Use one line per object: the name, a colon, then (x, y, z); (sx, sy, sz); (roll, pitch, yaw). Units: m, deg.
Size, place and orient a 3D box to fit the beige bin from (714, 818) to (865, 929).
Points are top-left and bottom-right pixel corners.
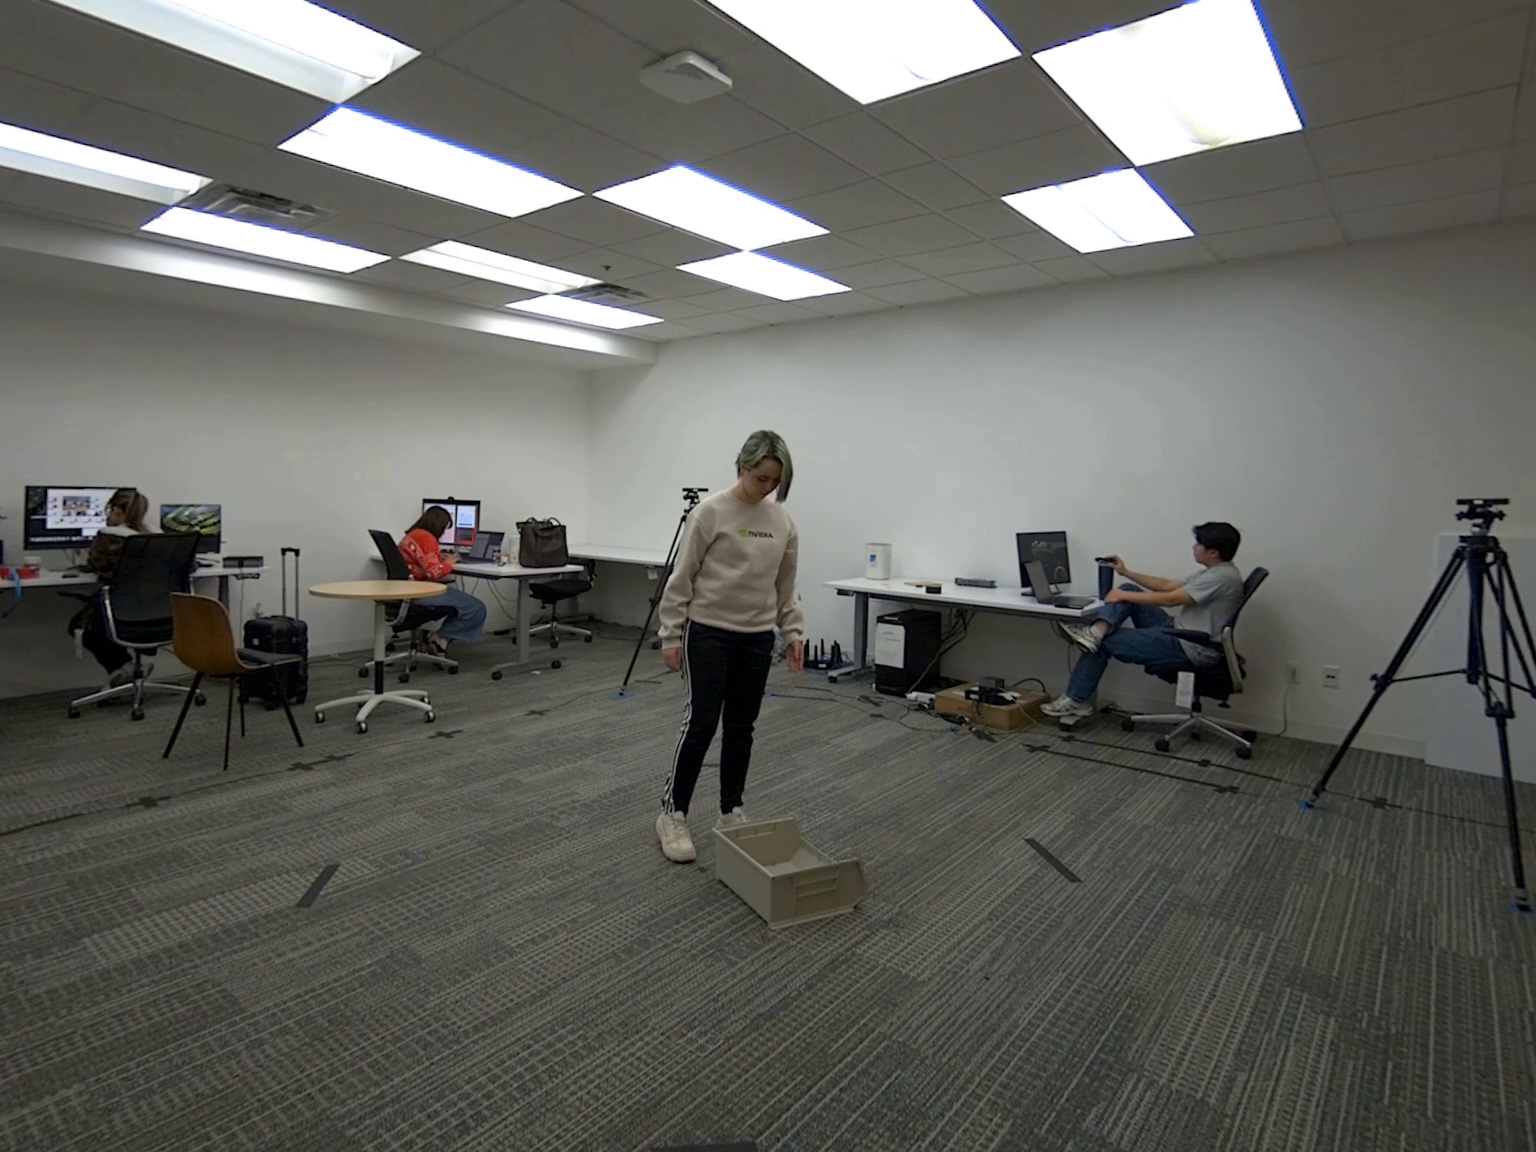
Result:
beige bin: (0.062, 1.002, 2.940); (0.368, 0.188, 0.435); (-2, 7, -29)
